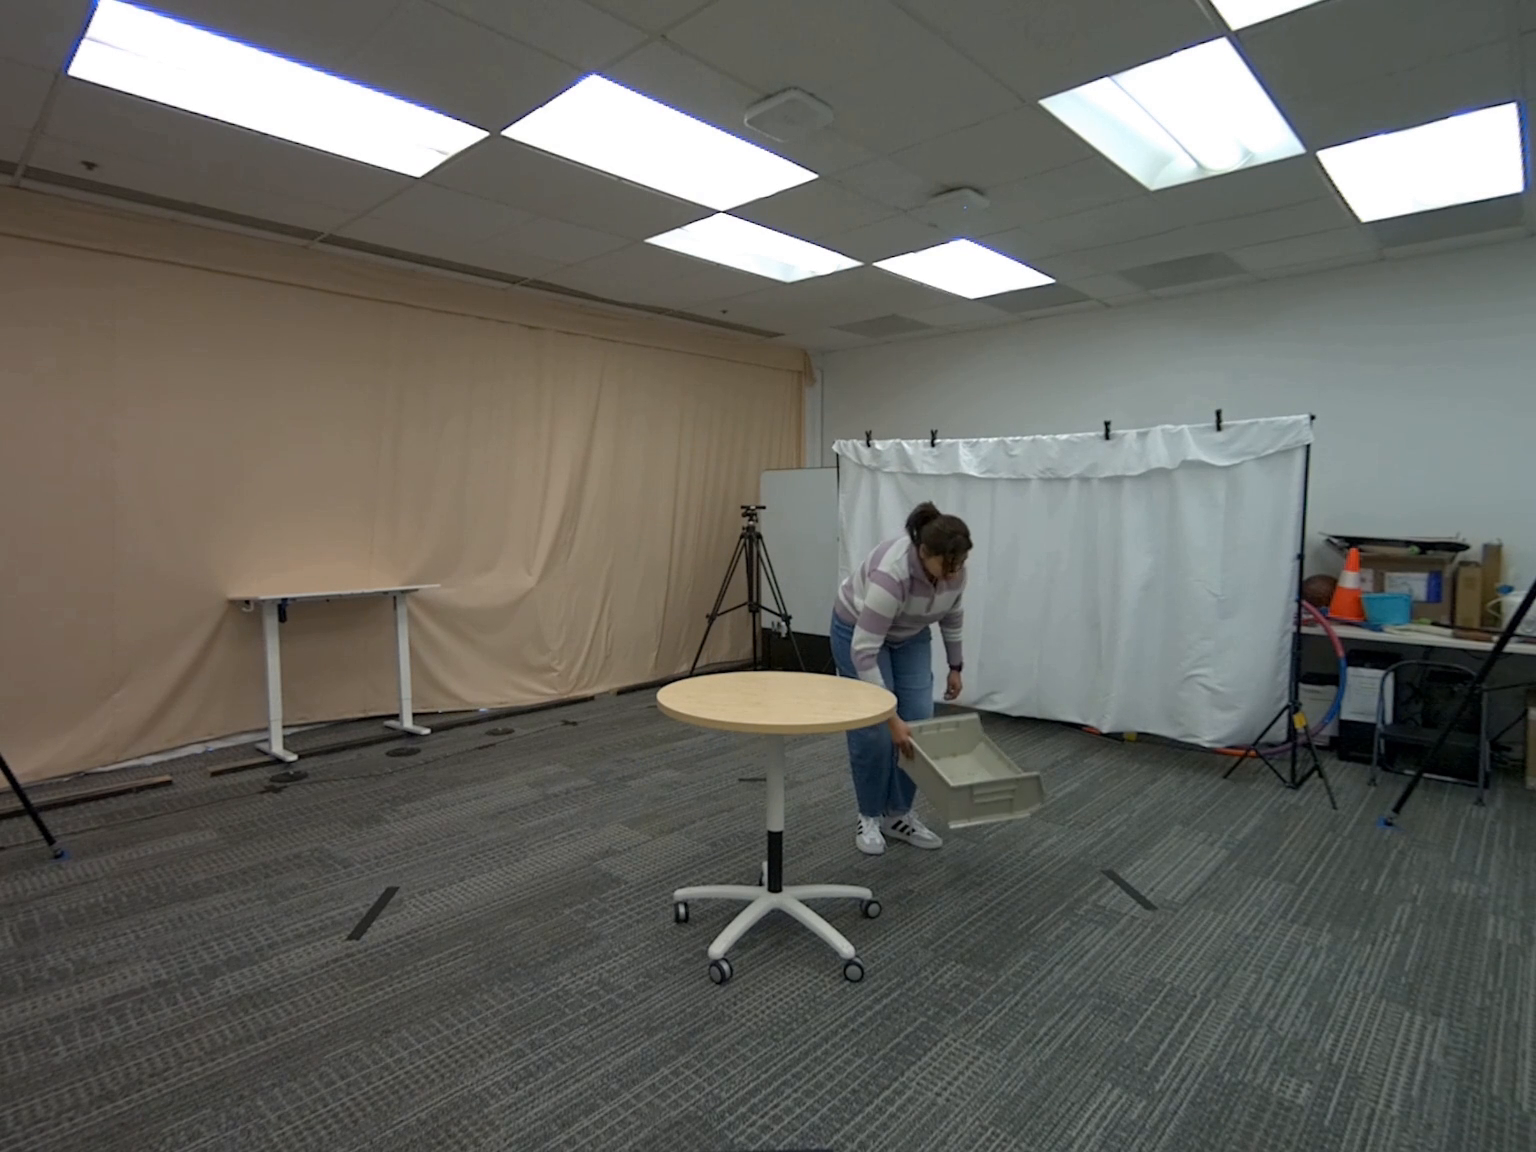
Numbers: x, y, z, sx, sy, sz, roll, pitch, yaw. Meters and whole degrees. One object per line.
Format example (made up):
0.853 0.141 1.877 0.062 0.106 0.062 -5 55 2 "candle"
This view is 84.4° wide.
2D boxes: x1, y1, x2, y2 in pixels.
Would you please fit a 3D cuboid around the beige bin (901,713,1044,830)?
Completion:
0.733 0.699 3.085 0.372 0.187 0.433 -6 21 -14 "beige bin"
